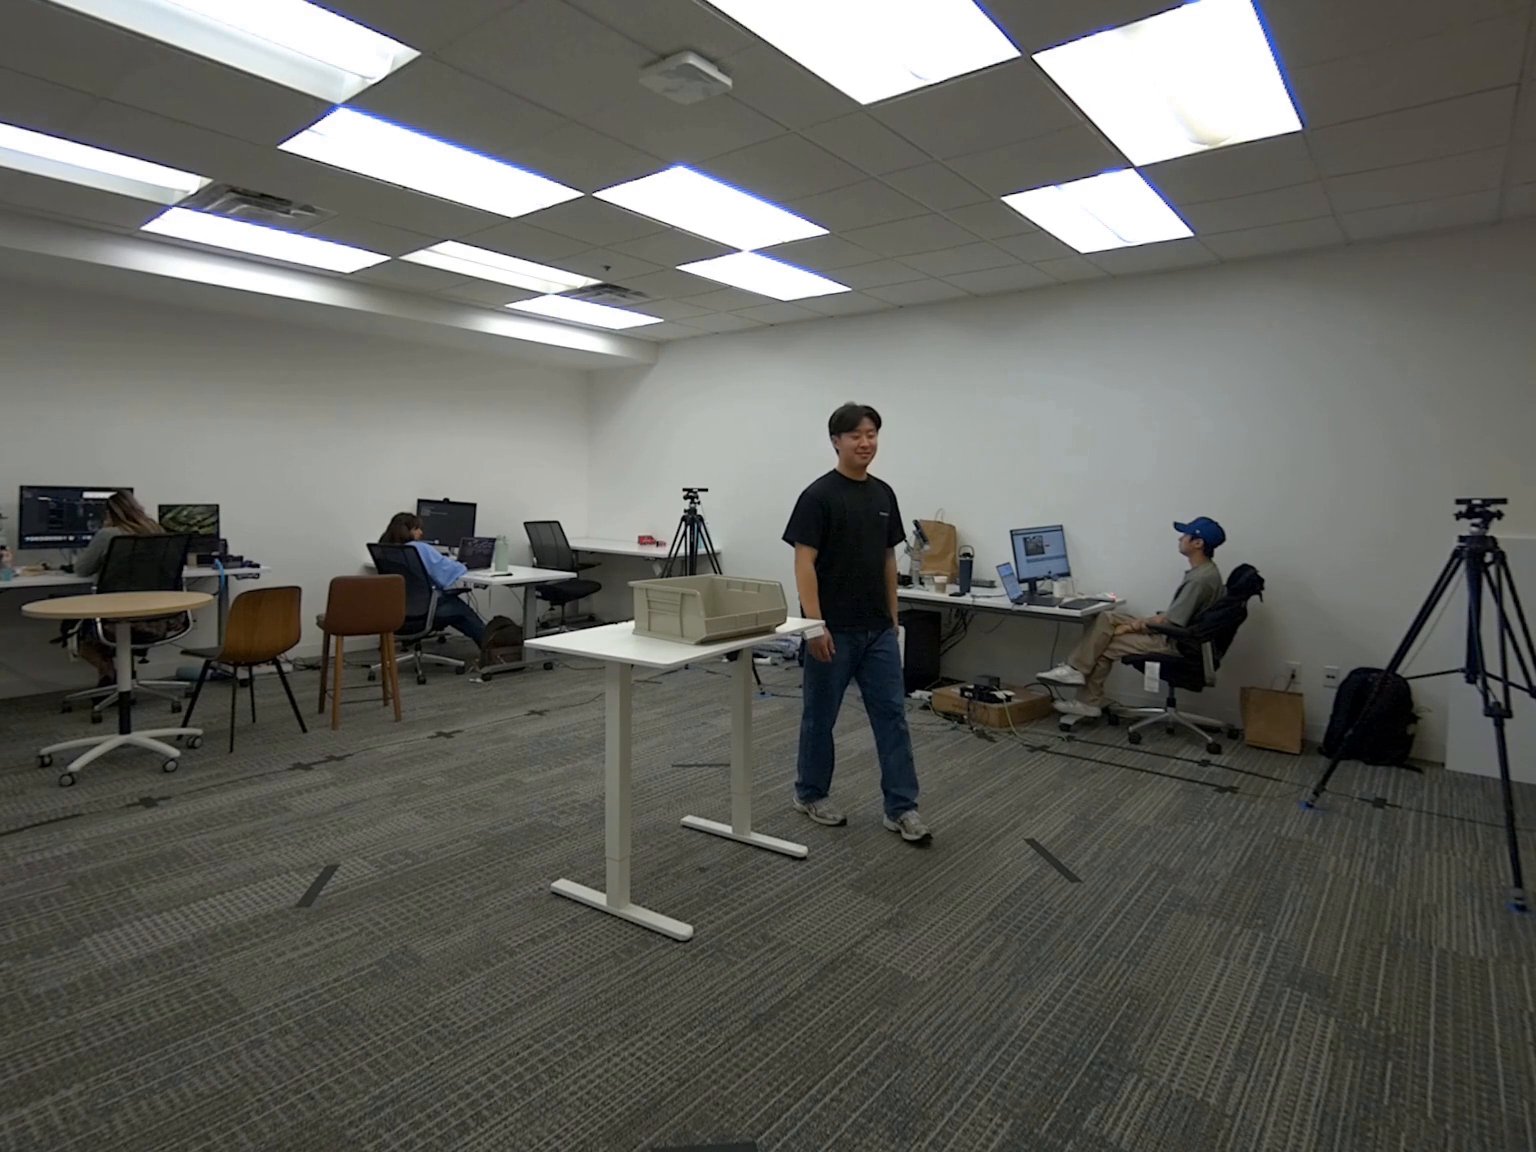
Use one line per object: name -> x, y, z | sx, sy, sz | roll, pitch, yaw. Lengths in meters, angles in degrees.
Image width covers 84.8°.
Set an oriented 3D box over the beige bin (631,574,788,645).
beige bin -> -0.214, 0.109, 2.979 | 0.390, 0.188, 0.410 | 4, 6, 42
